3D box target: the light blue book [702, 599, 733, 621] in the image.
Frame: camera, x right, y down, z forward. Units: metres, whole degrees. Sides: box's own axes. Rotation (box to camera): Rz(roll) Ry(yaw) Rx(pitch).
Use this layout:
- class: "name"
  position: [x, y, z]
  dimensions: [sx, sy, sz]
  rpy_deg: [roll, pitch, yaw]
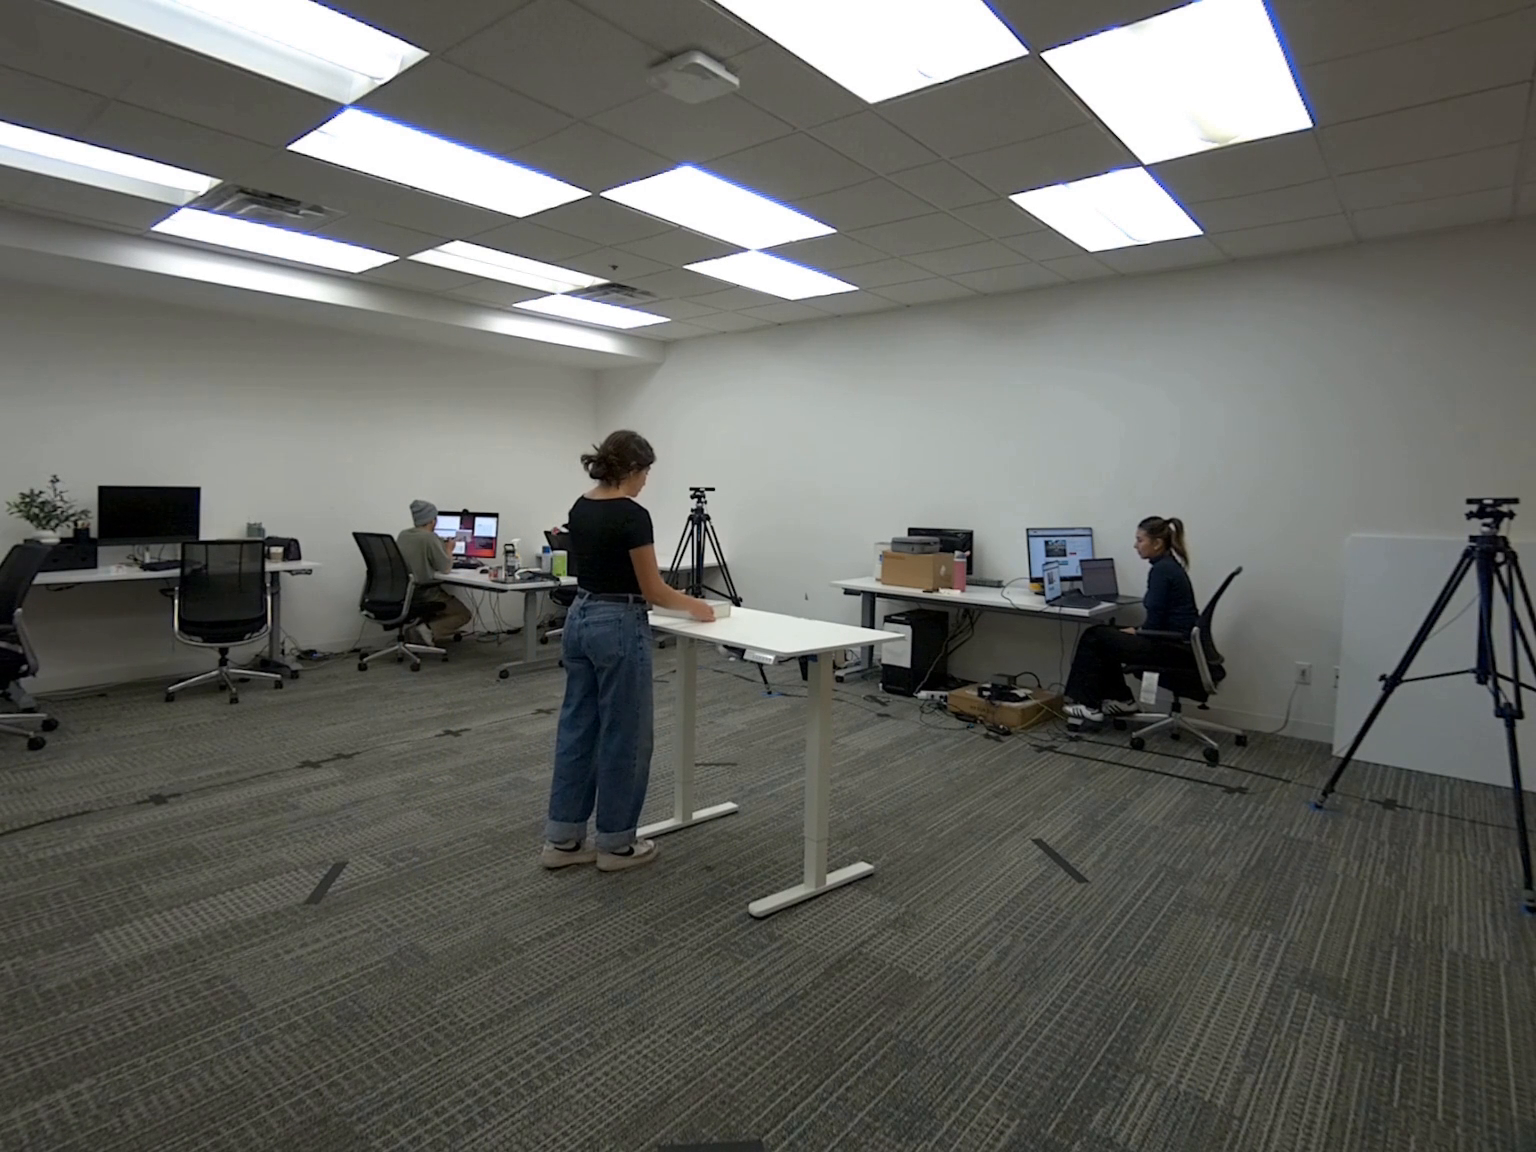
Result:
- class: "light blue book"
  position: [-0.312, 0.128, 3.404]
  dimensions: [0.269, 0.059, 0.186]
  rpy_deg: [3, 6, 33]
